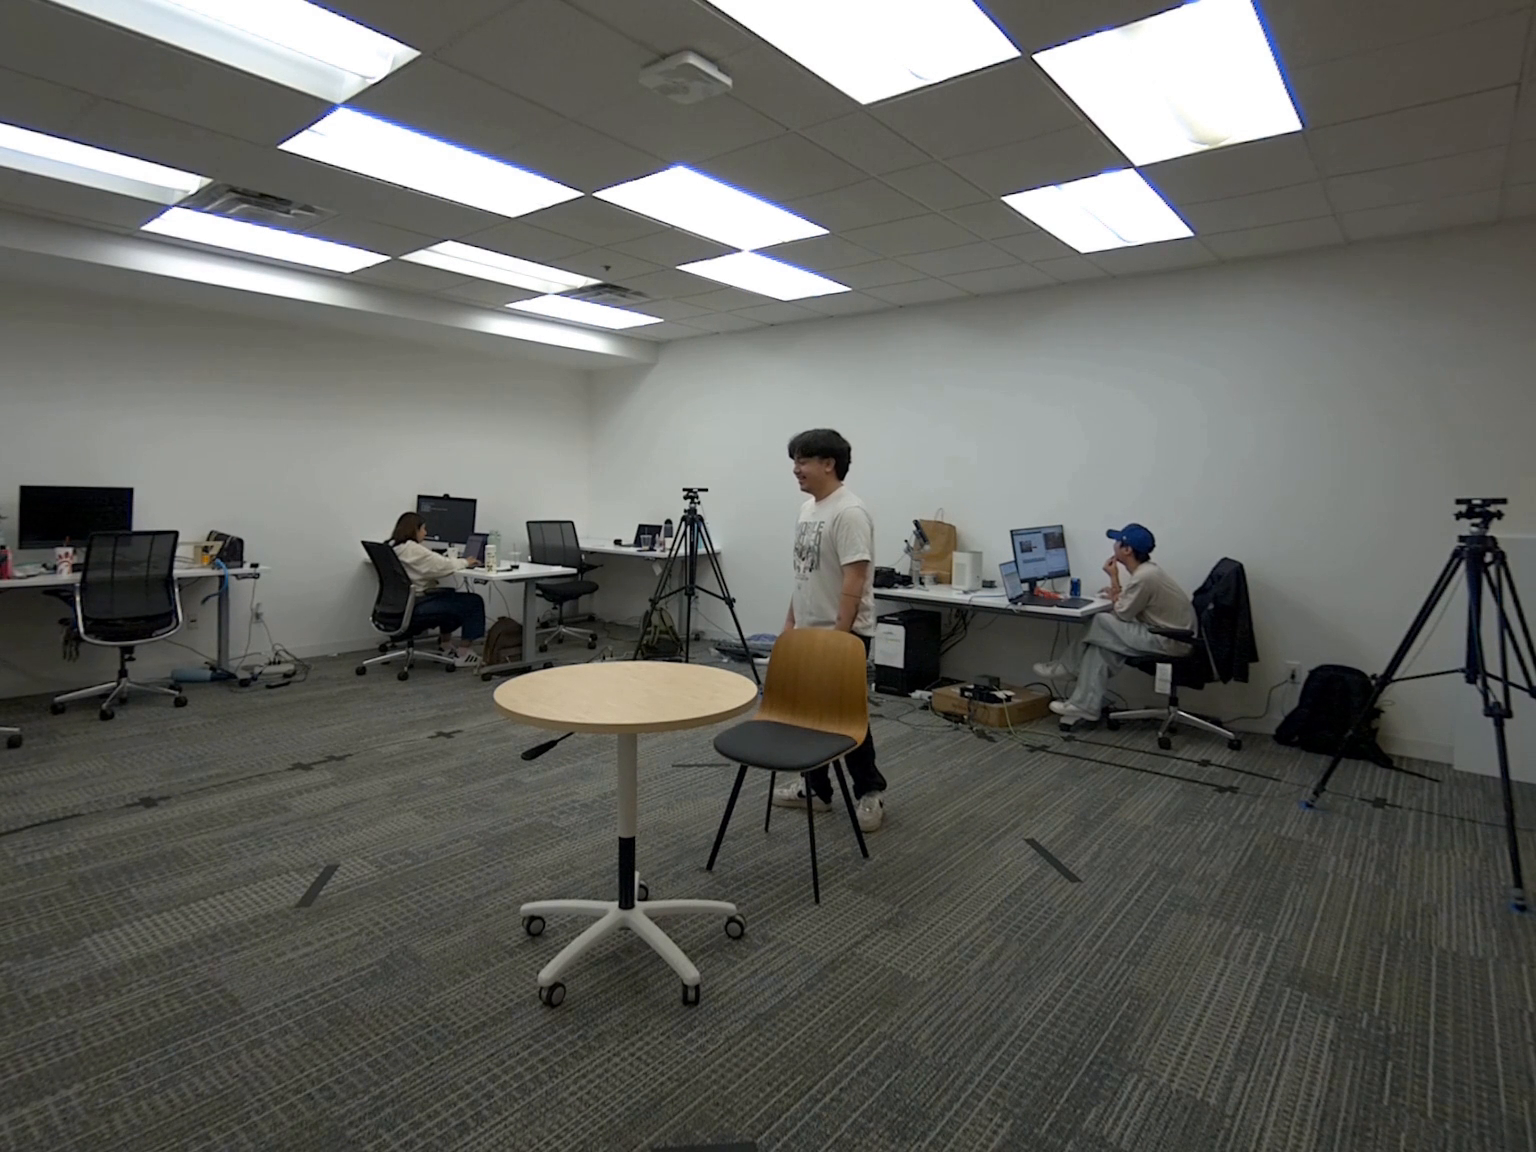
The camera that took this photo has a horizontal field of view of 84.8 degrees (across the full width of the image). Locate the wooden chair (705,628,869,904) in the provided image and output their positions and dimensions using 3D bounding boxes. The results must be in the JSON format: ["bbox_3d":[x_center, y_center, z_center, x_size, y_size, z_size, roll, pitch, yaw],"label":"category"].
[{"bbox_3d":[0.076,0.643,3.139,0.493,0.878,0.507,4,0,31],"label":"wooden chair"}]
